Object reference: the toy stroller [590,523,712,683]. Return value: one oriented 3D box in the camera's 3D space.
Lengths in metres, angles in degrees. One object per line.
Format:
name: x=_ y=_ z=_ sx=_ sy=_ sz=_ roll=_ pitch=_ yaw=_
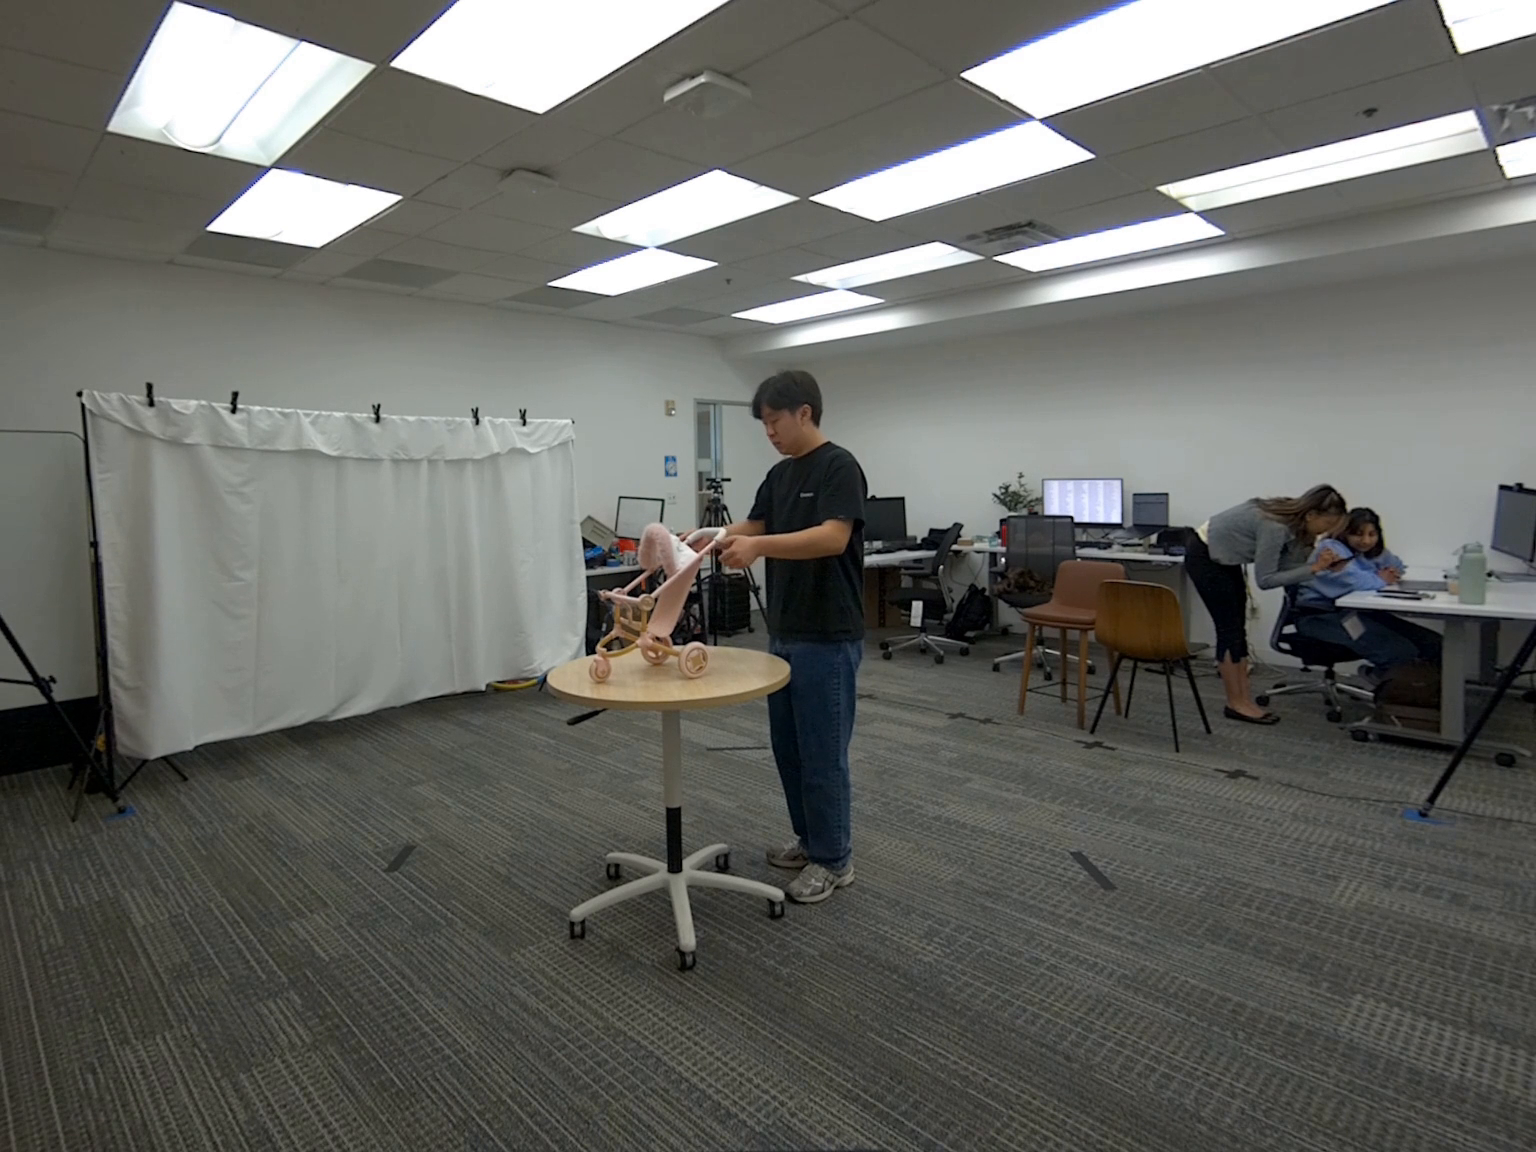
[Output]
toy stroller: x=-0.349 y=0.078 z=2.651 sx=0.332 sy=0.536 sz=0.289 roll=13 pitch=-3 yaw=-27
